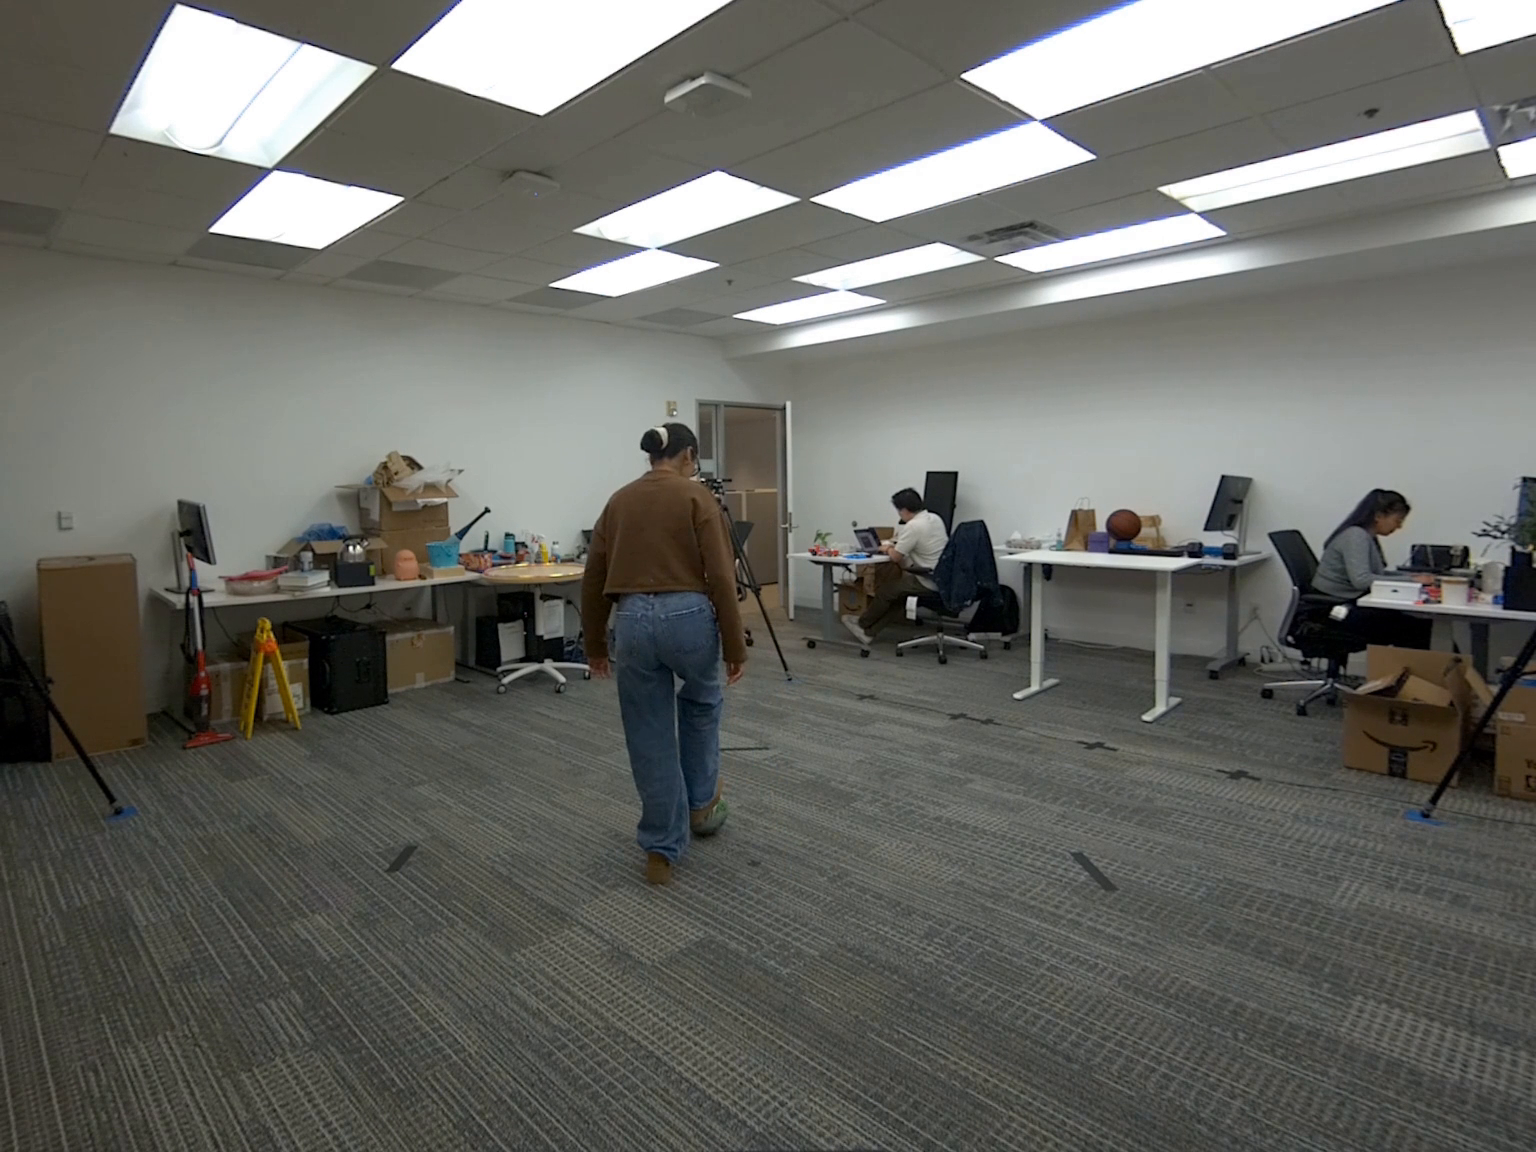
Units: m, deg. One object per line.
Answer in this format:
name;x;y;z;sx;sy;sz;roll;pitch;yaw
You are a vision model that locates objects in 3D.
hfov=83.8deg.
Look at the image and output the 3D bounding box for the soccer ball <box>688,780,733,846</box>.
soccer ball;-0.238;0.928;3.372;0.187;0.187;0.188;-1;5;-2
